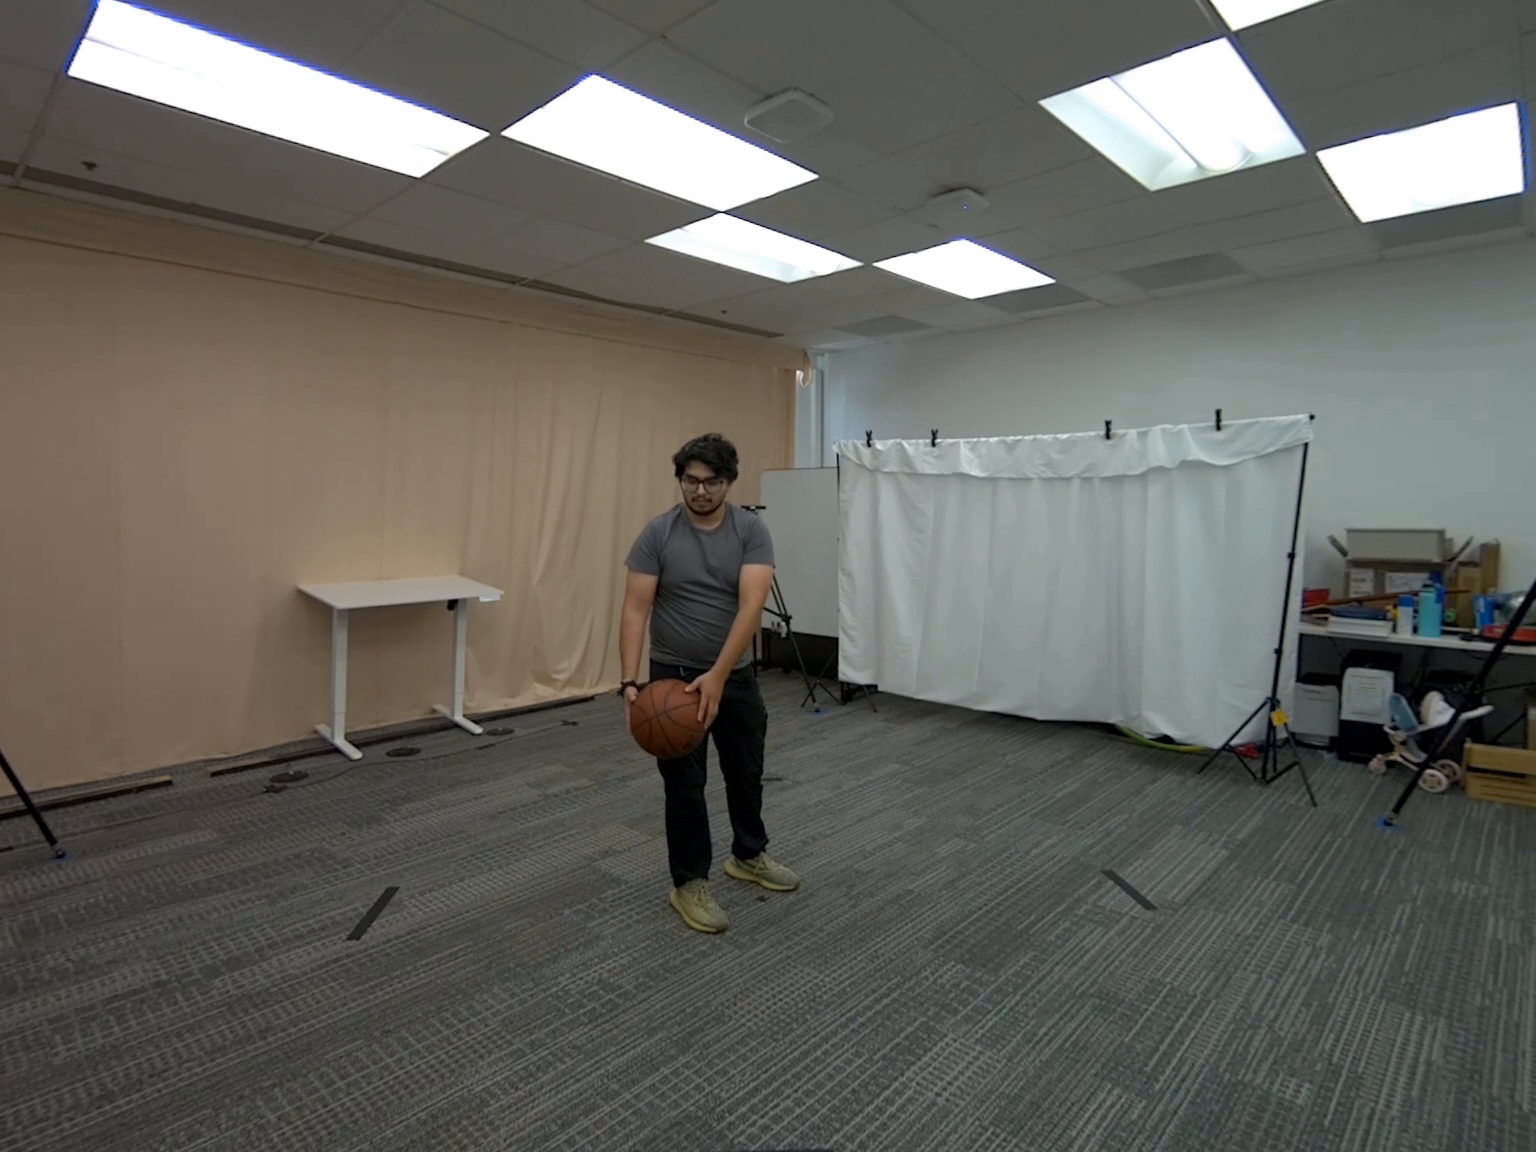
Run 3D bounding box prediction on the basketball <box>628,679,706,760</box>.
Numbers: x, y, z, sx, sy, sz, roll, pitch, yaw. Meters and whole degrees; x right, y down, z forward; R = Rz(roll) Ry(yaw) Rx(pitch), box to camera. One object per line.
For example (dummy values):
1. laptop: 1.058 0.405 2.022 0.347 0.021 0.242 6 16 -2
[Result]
1. basketball: -0.296 0.426 2.563 0.236 0.235 0.237 0 4 -2
